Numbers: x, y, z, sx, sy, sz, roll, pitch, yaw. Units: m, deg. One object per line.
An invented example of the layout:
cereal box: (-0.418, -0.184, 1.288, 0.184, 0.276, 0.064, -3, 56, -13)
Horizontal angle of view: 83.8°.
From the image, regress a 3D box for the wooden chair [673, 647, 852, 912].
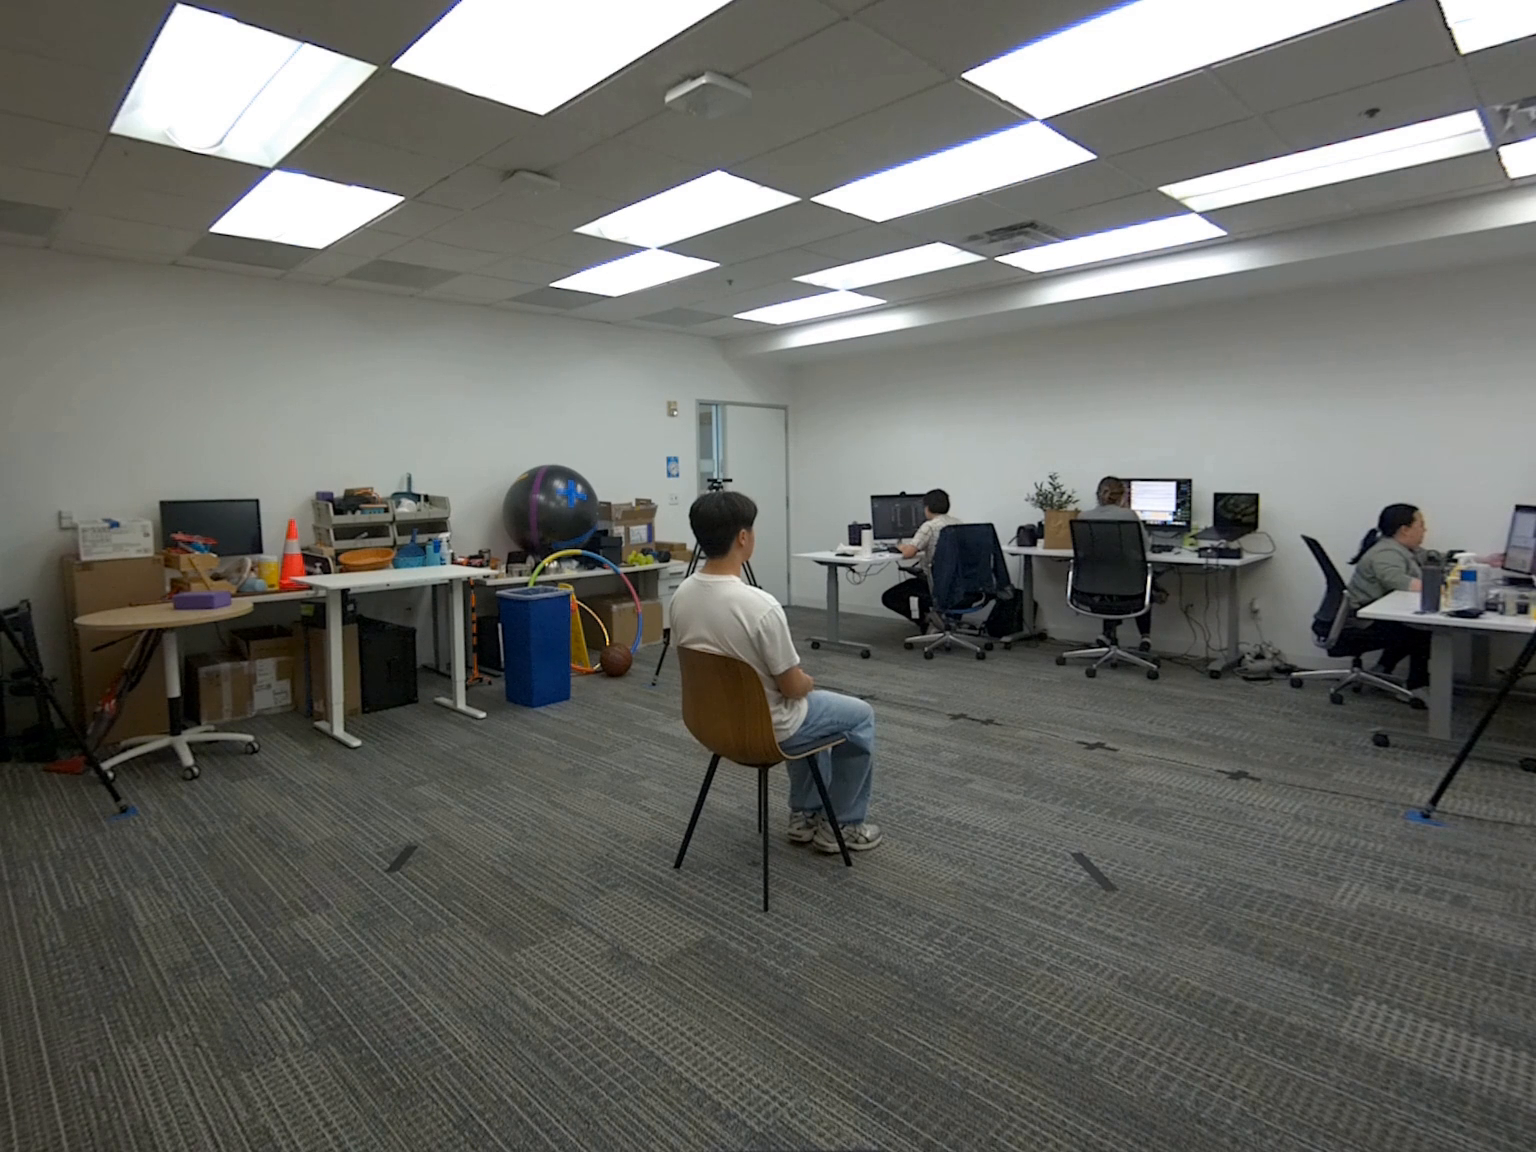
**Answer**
wooden chair: (-0.022, 0.627, 3.039, 0.493, 0.871, 0.511, 5, 11, 44)
